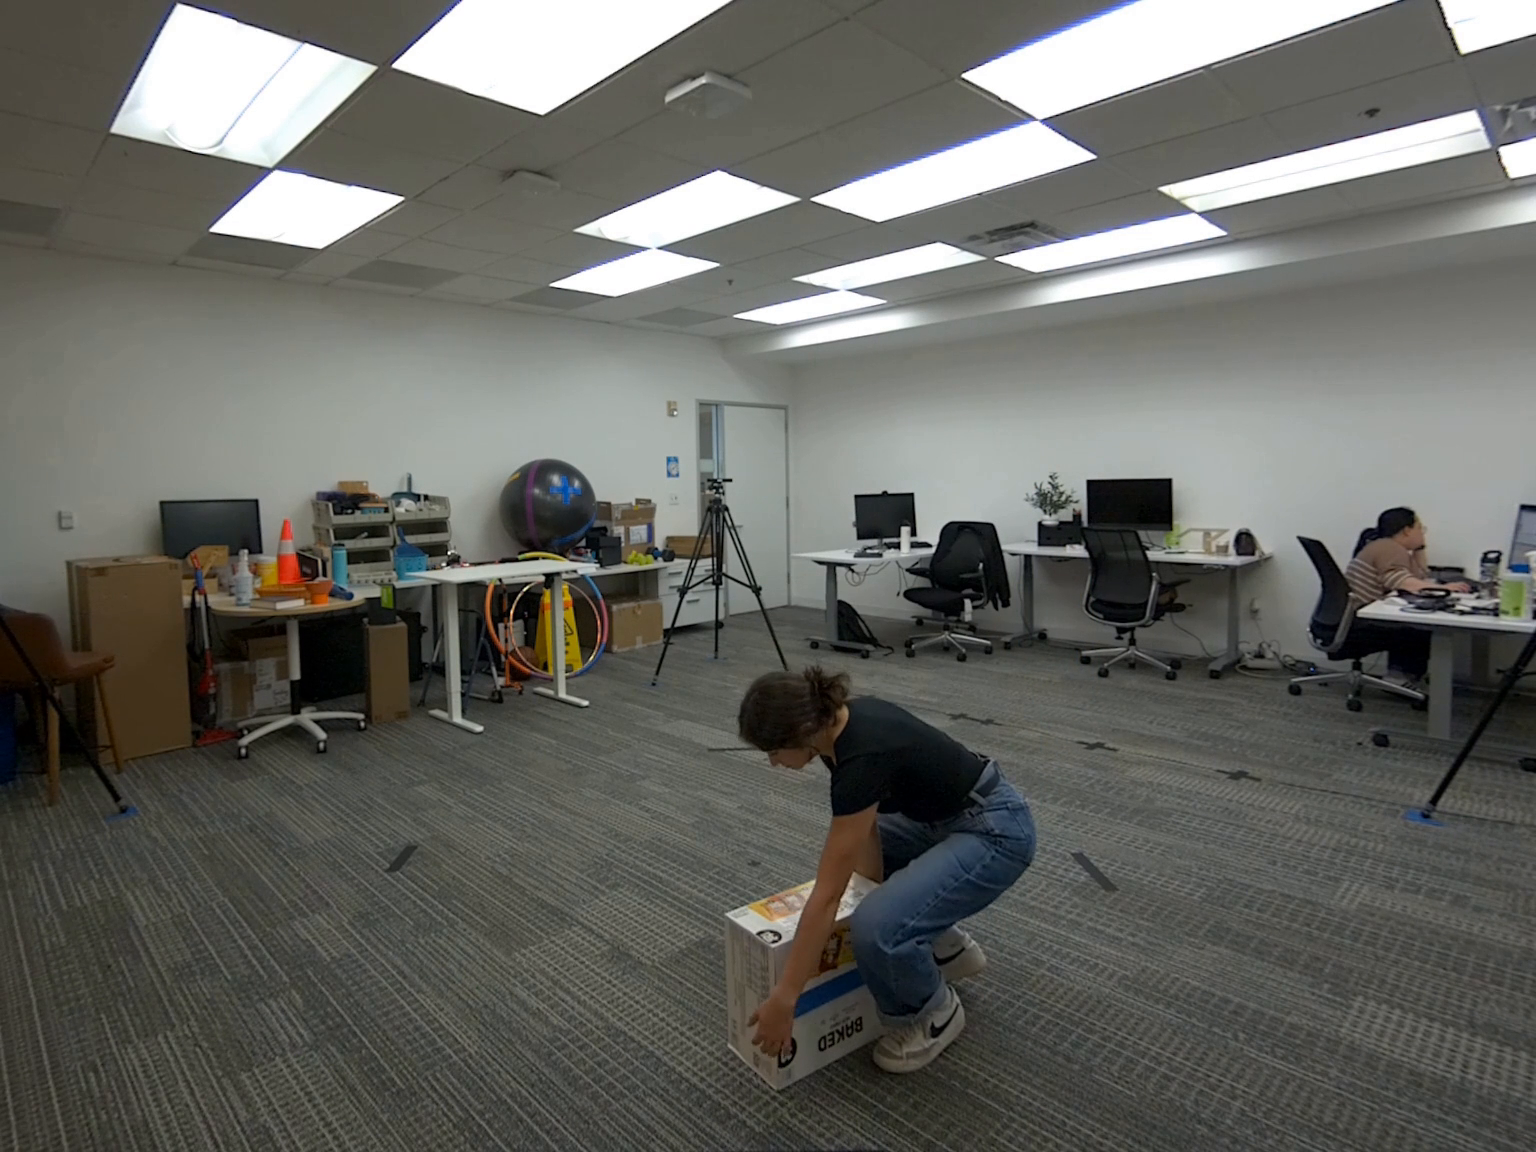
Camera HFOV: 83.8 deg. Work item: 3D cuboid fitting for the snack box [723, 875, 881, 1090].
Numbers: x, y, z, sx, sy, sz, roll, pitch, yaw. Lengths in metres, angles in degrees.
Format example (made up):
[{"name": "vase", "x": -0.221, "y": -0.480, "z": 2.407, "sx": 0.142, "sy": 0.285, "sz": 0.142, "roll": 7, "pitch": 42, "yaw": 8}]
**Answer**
[{"name": "snack box", "x": 0.122, "y": 0.987, "z": 2.132, "sx": 0.395, "sy": 0.339, "sz": 0.211, "roll": -4, "pitch": 4, "yaw": -36}]
